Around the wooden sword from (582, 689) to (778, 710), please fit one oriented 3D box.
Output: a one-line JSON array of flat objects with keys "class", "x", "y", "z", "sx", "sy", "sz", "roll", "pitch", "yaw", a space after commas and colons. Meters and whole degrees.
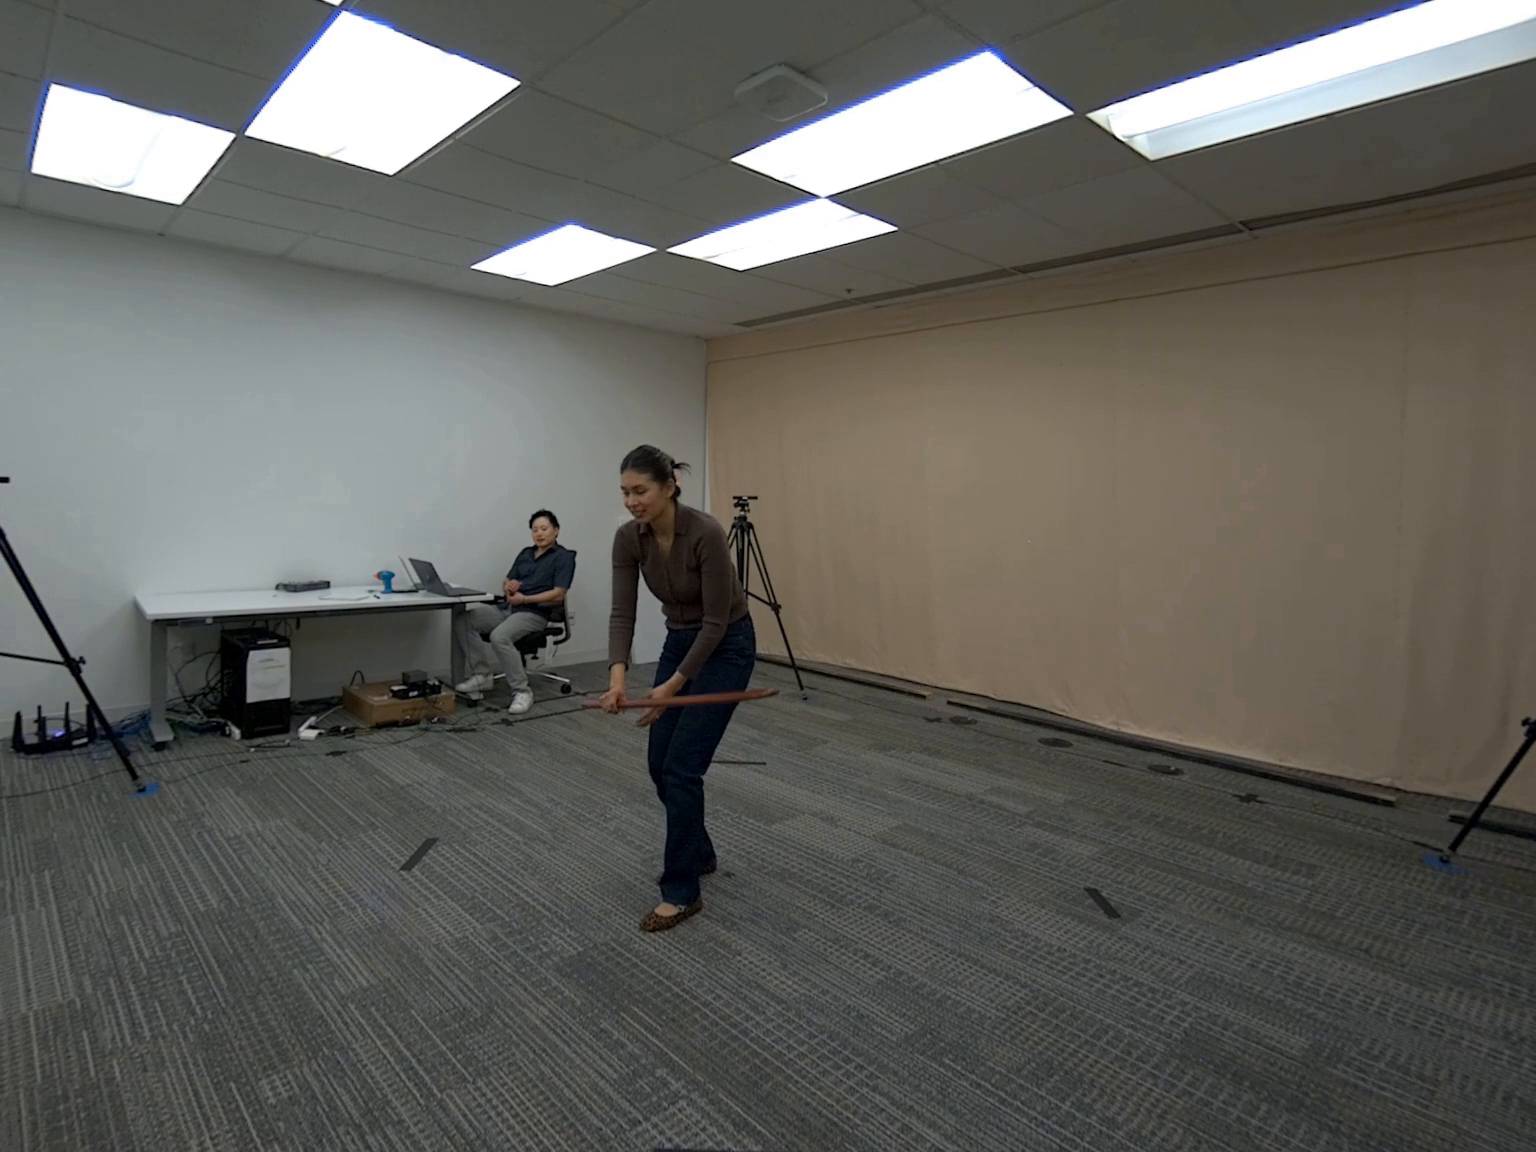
[{"class": "wooden sword", "x": -0.333, "y": 0.375, "z": 2.431, "sx": 1.043, "sy": 0.051, "sz": 0.023, "roll": -12, "pitch": -50, "yaw": 48}]
